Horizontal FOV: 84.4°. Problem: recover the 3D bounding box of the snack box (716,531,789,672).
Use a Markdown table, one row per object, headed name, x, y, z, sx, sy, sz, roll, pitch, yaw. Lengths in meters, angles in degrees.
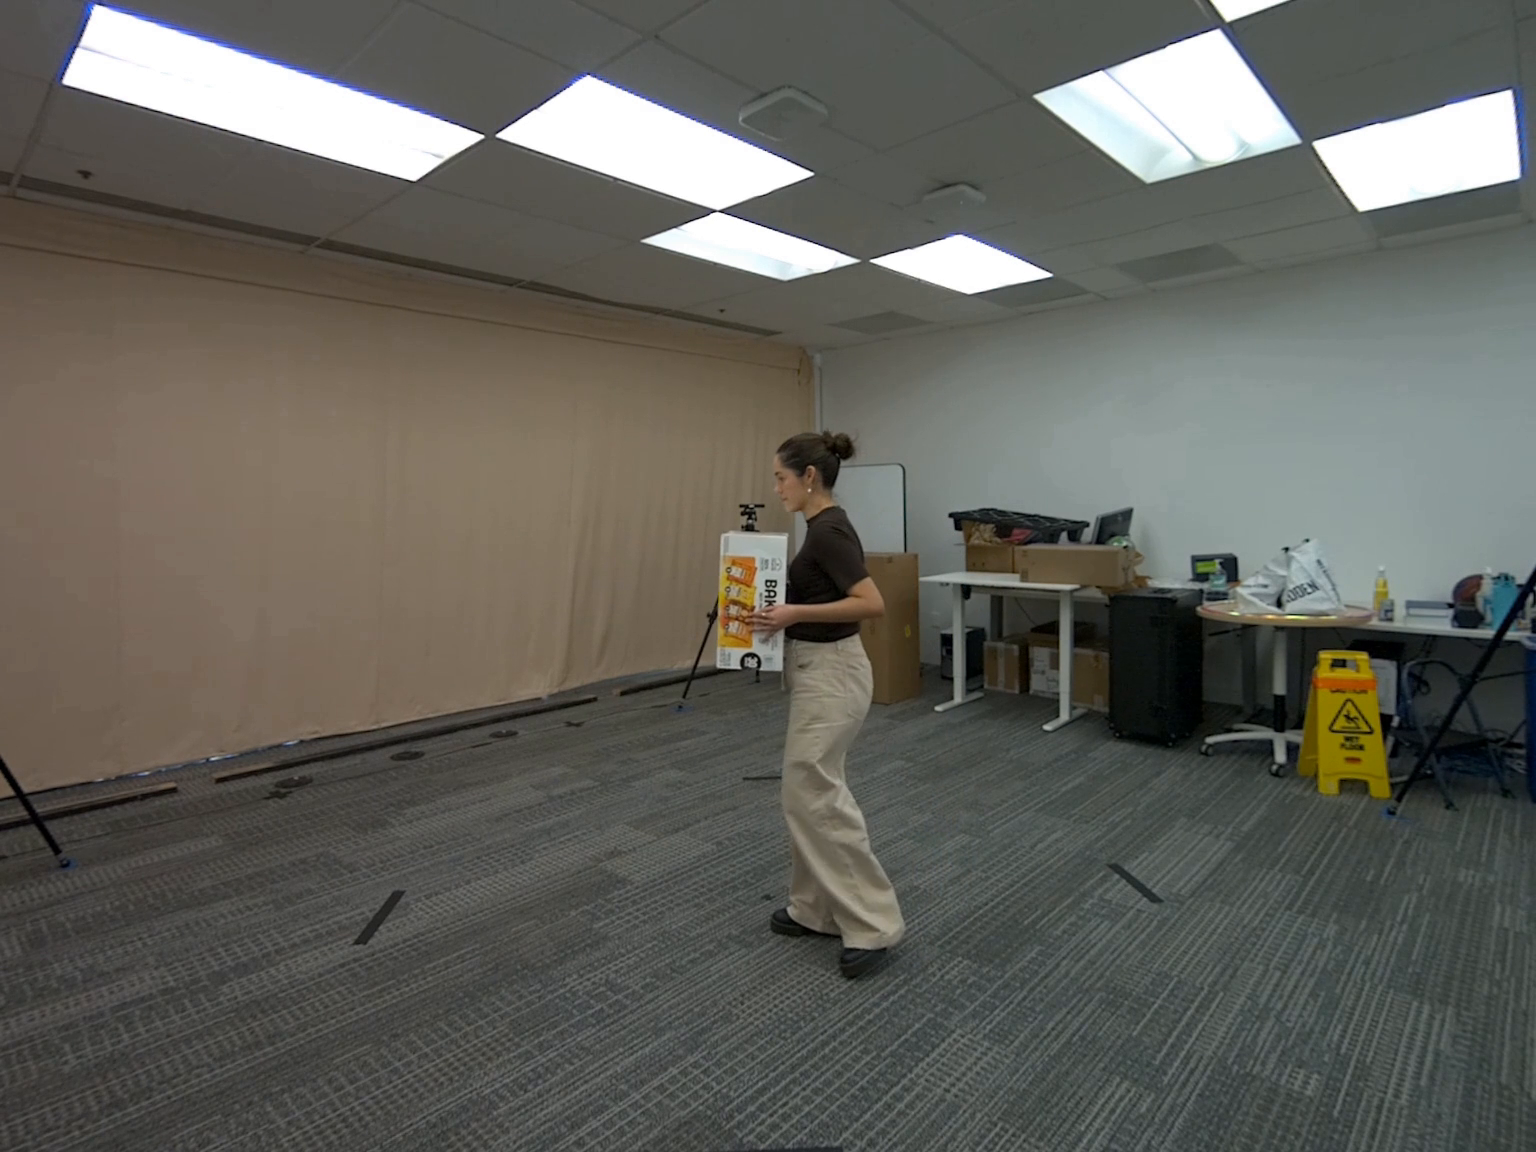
| name | x | y | z | sx | sy | sz | roll | pitch | yaw |
| --- | --- | --- | --- | --- | --- | --- | --- | --- | --- |
| snack box | -0.044 | 0.071 | 2.678 | 0.207 | 0.404 | 0.339 | 2 | 3 | 3 |
